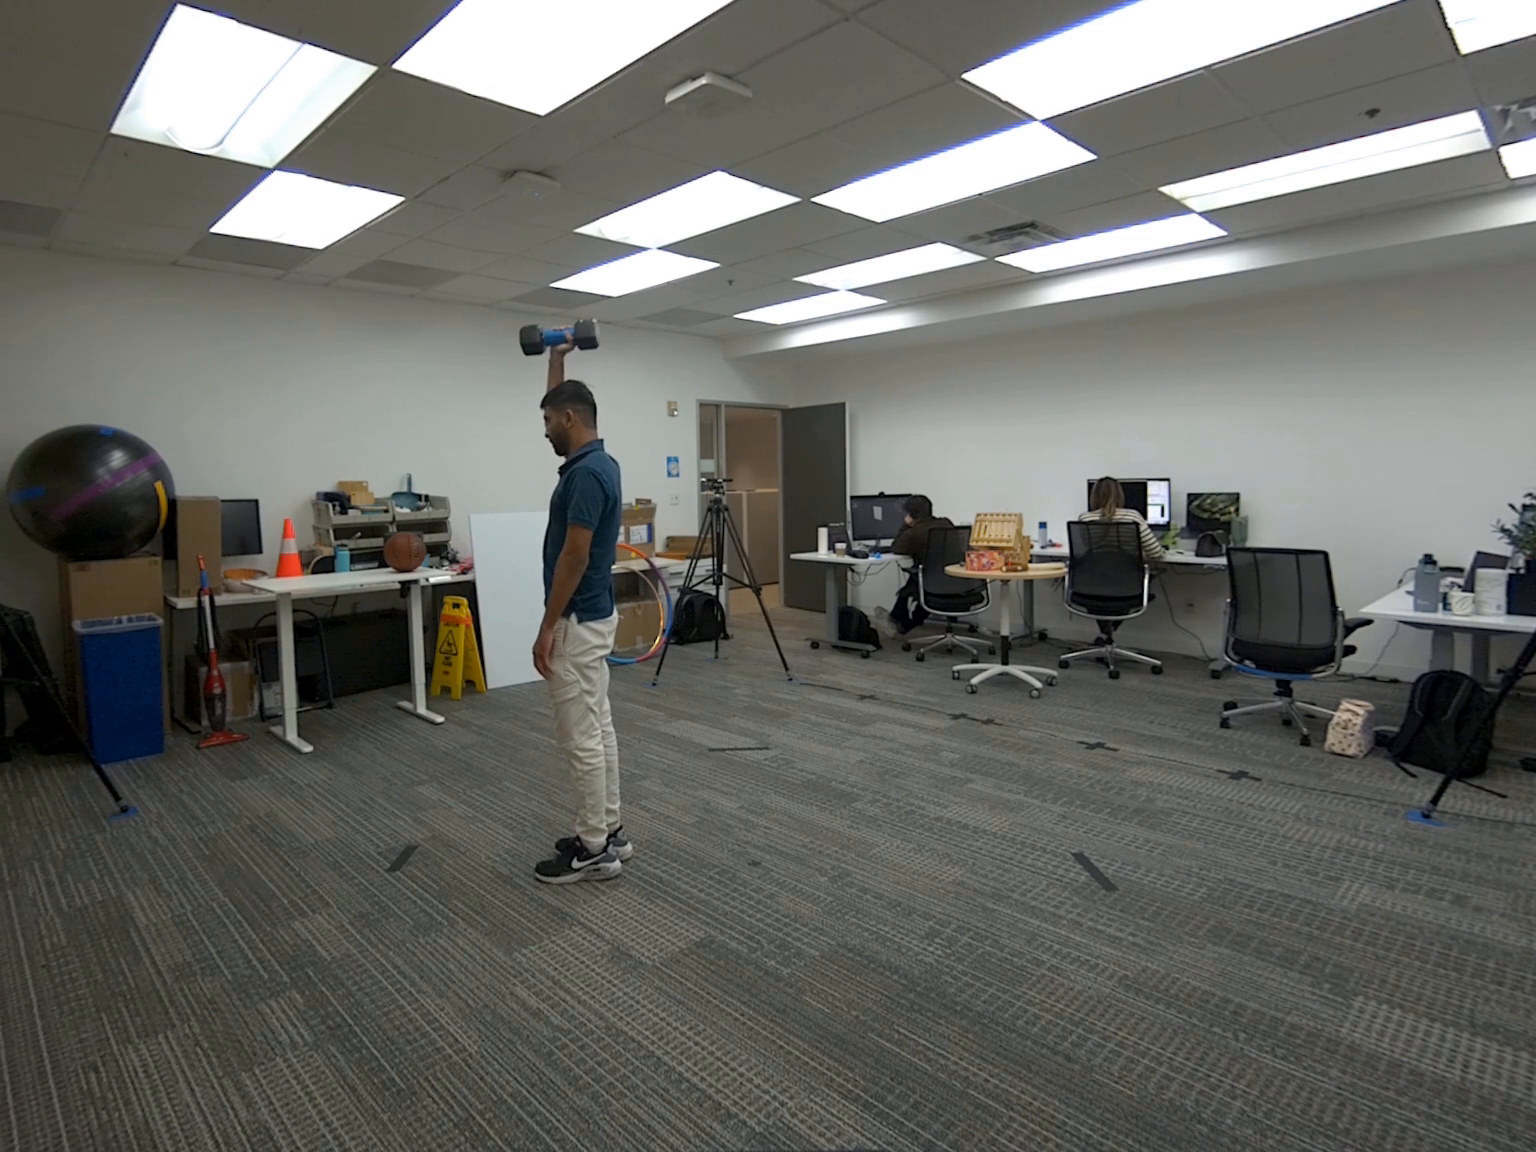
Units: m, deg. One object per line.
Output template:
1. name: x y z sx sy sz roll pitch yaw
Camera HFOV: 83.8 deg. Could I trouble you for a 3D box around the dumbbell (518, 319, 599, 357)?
1. dumbbell: -0.786 -0.905 3.239 0.295 0.106 0.125 -5 25 4
